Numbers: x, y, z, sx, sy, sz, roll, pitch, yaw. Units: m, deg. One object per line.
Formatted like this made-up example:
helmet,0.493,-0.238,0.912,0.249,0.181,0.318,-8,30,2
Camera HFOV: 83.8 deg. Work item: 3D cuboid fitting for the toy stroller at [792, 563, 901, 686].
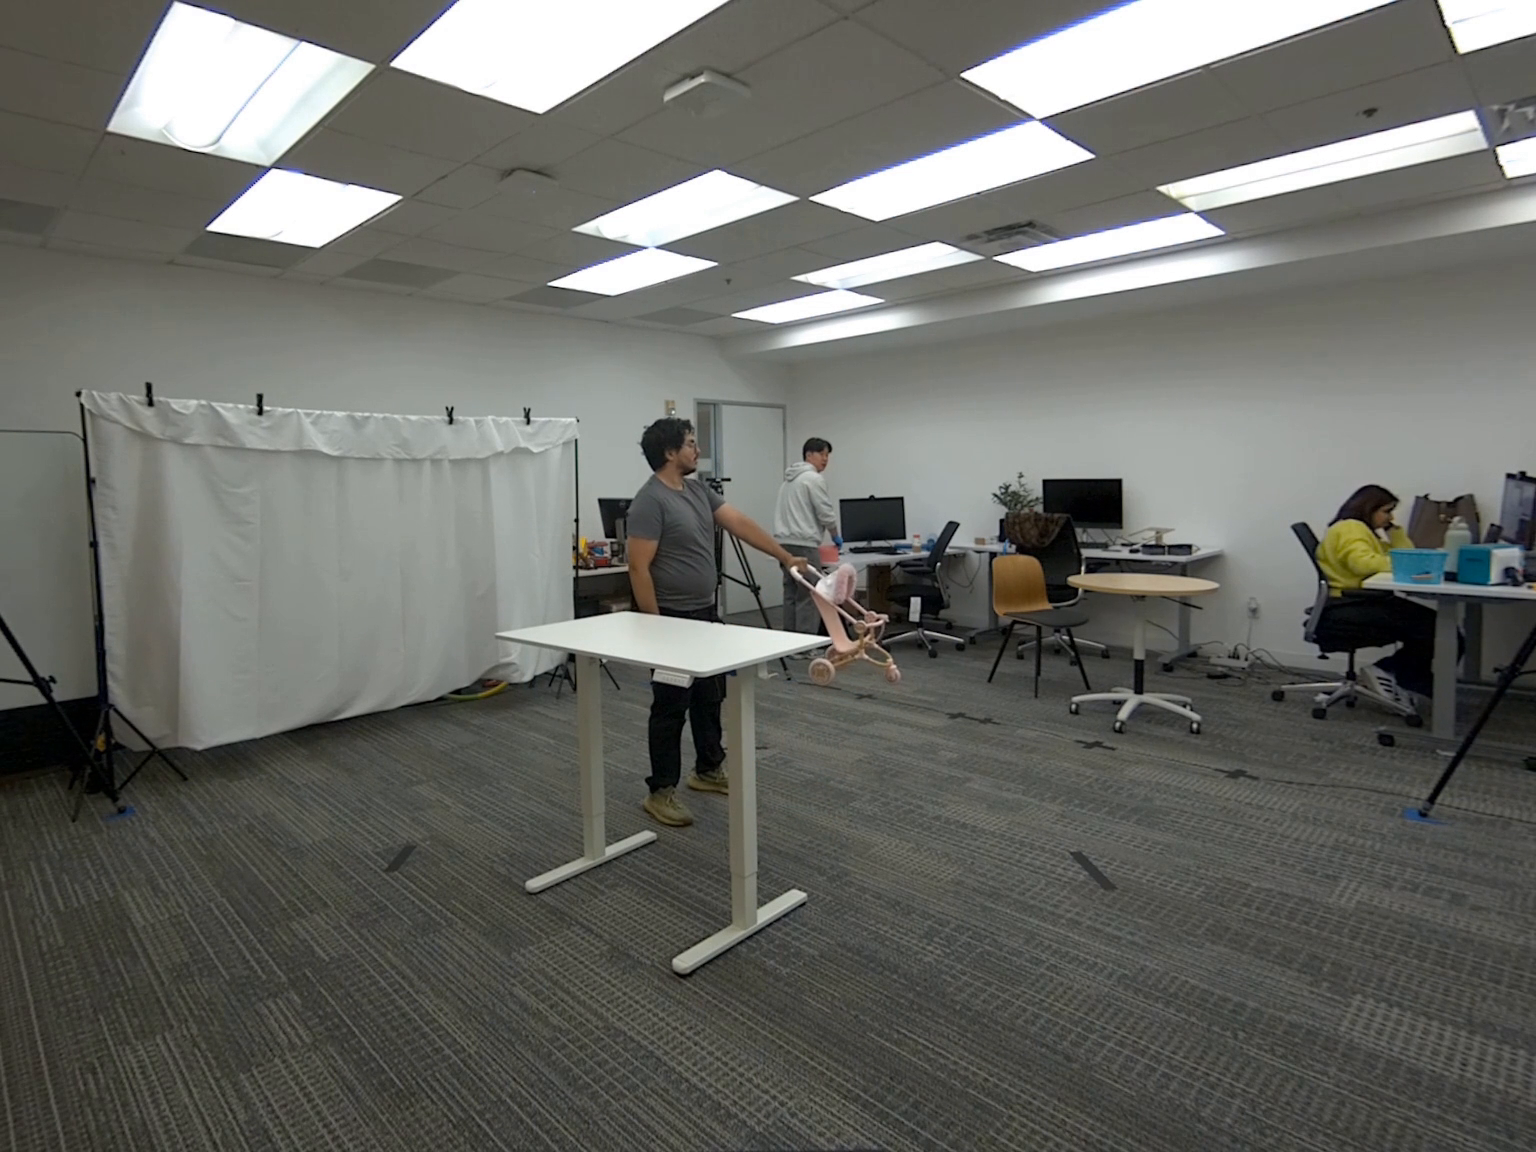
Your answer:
toy stroller,0.323,0.191,3.410,0.348,0.534,0.276,-12,1,27
